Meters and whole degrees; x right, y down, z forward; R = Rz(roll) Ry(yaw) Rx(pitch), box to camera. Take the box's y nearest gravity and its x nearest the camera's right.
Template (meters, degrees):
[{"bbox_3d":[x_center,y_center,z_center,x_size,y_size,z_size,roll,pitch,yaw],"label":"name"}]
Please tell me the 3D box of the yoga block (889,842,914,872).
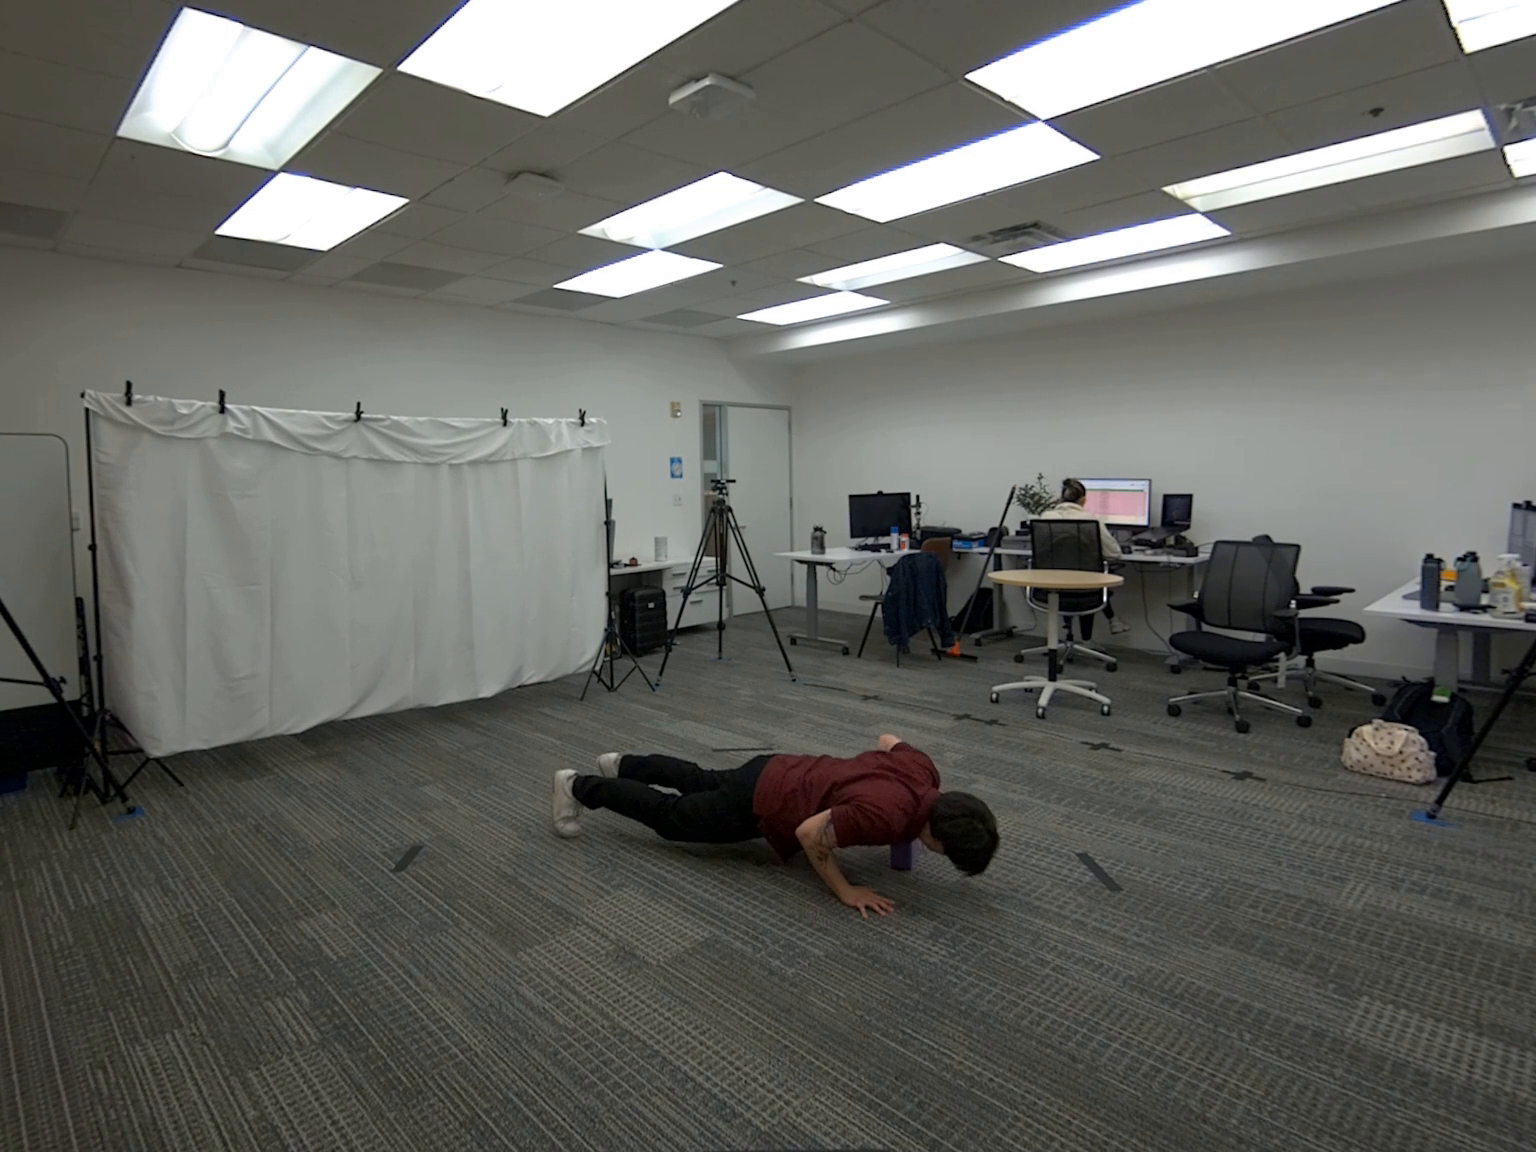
[{"bbox_3d":[0.500,0.950,3.139,0.078,0.148,0.226,-2,4,17],"label":"yoga block"}]
